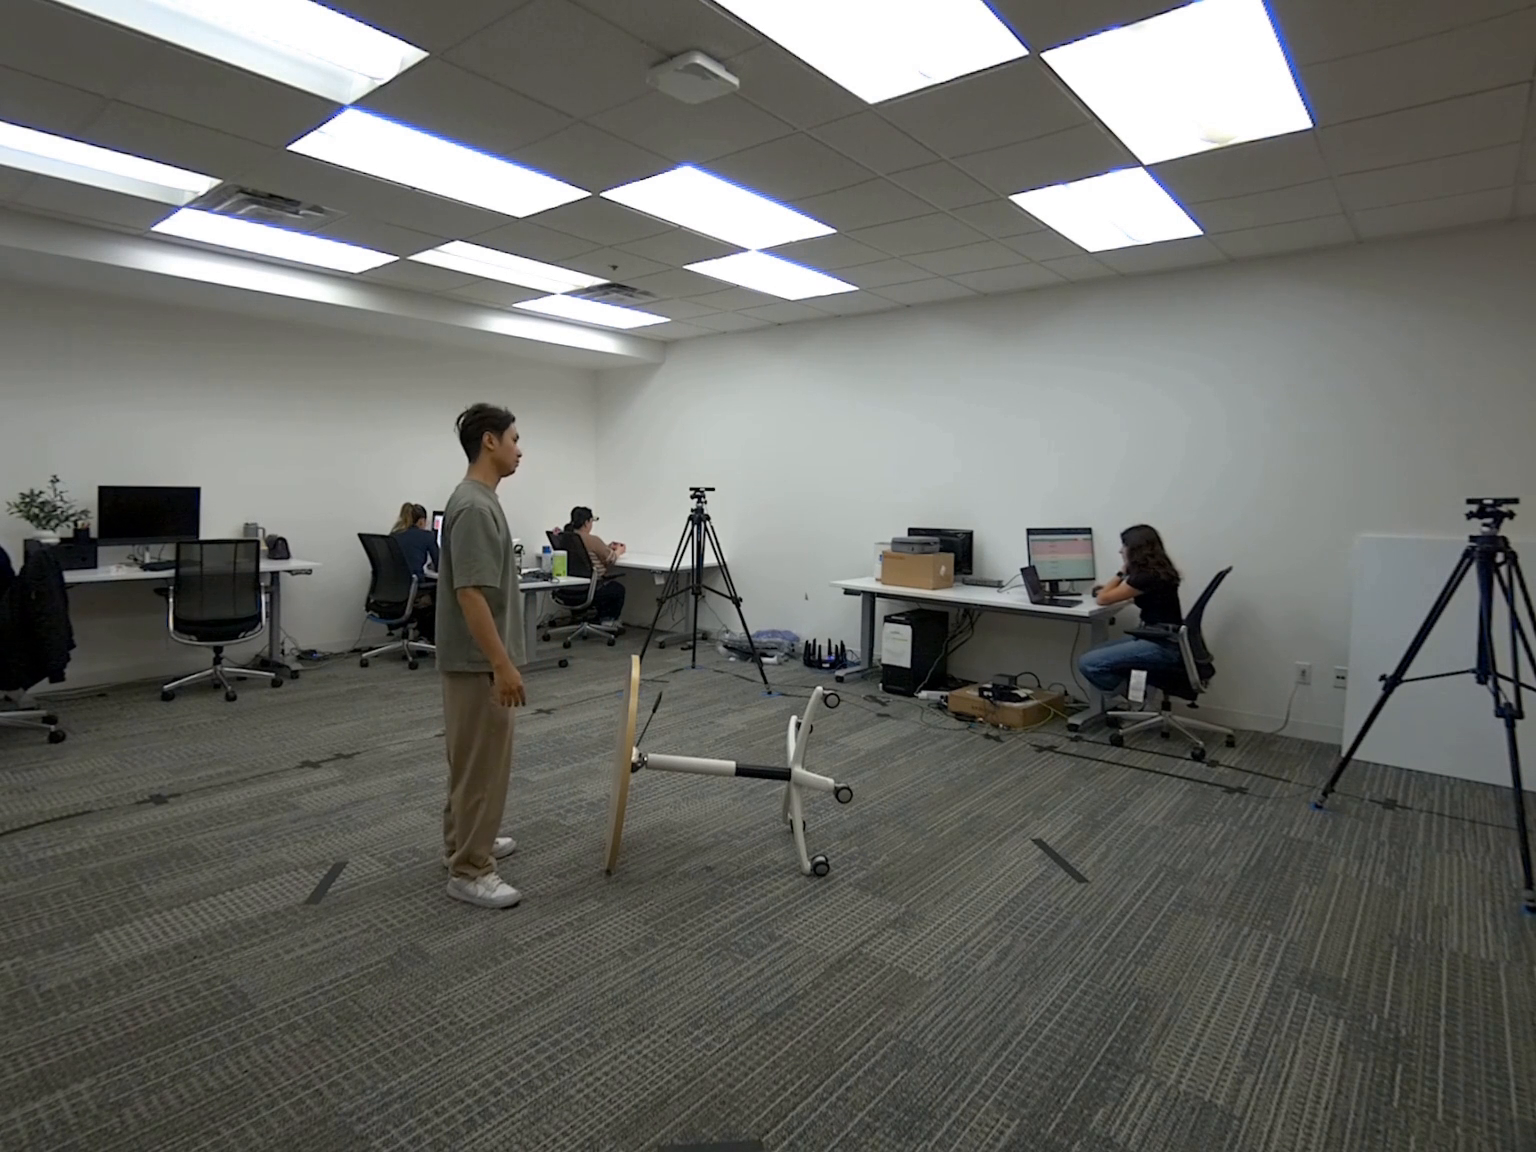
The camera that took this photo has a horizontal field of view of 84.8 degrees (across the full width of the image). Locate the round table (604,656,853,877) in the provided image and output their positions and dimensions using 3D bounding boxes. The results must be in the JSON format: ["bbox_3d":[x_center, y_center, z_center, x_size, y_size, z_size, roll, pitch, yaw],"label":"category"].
[{"bbox_3d":[-0.175,0.716,3.203,0.777,0.783,0.796,6,3,-11],"label":"round table"}]
